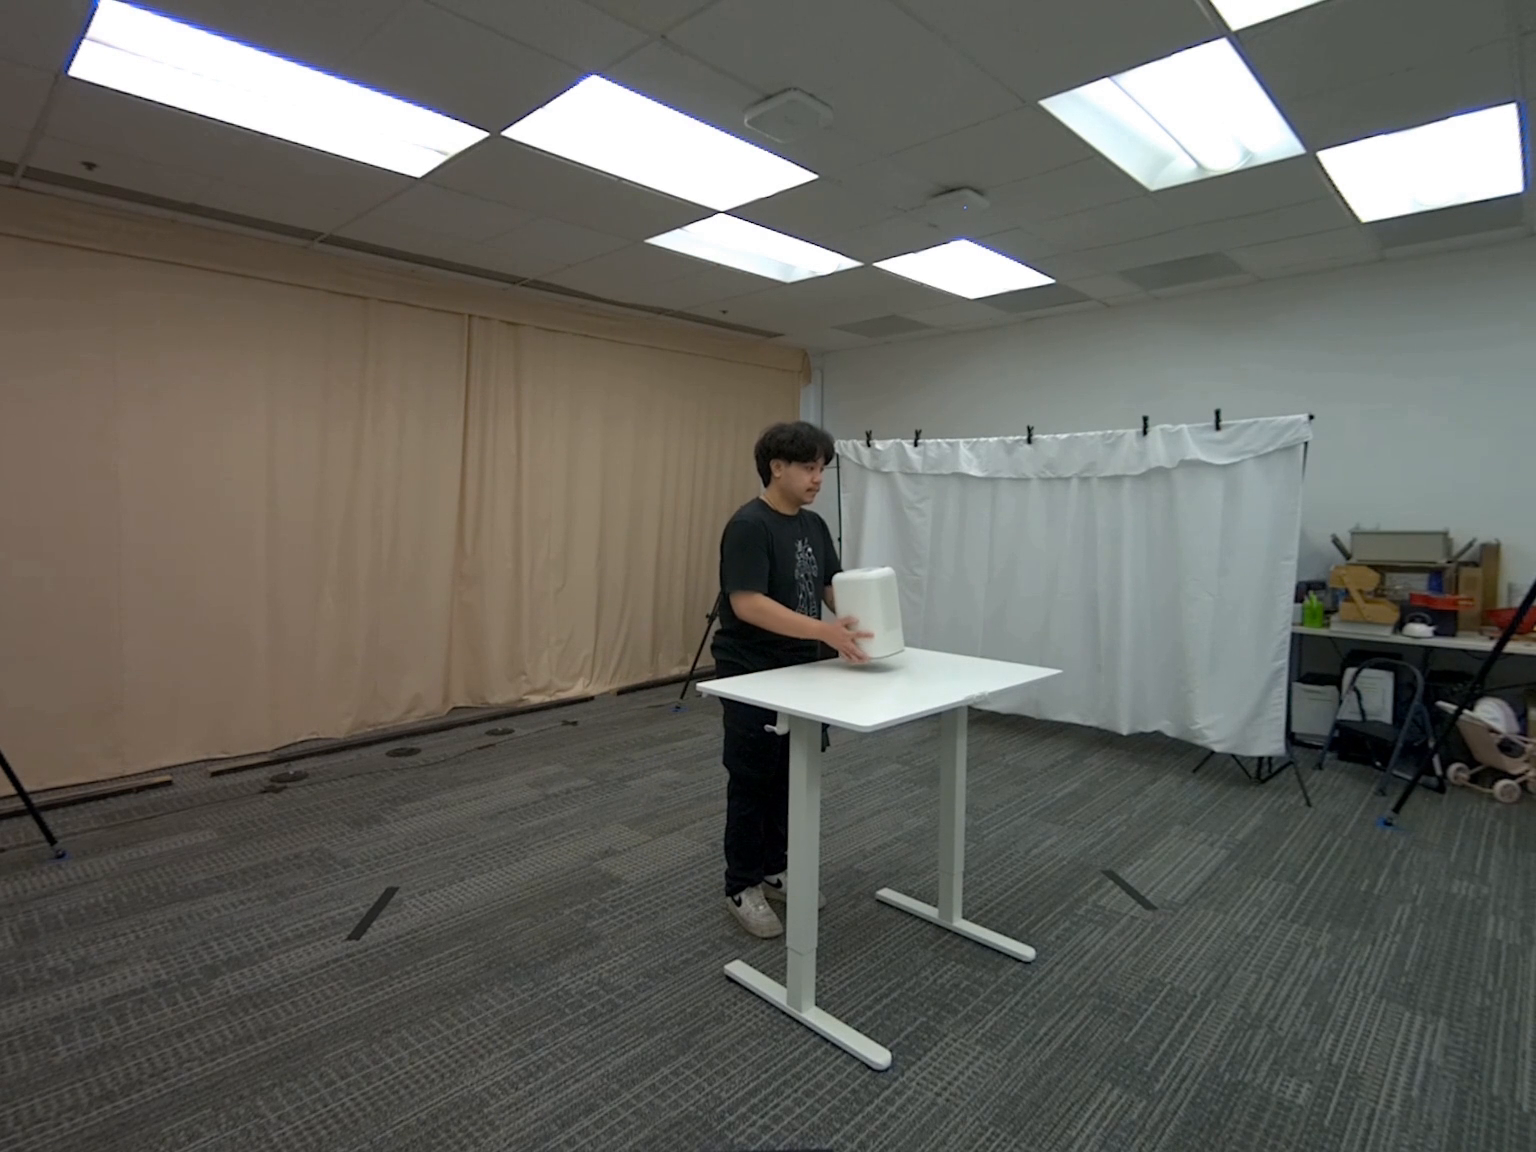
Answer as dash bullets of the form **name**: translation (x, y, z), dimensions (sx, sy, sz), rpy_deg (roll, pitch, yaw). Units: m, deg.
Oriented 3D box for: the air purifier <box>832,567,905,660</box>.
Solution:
- **air purifier**: translation (0.325, 0.111, 2.612), dimensions (0.176, 0.265, 0.166), rpy_deg (-4, 3, 42)
